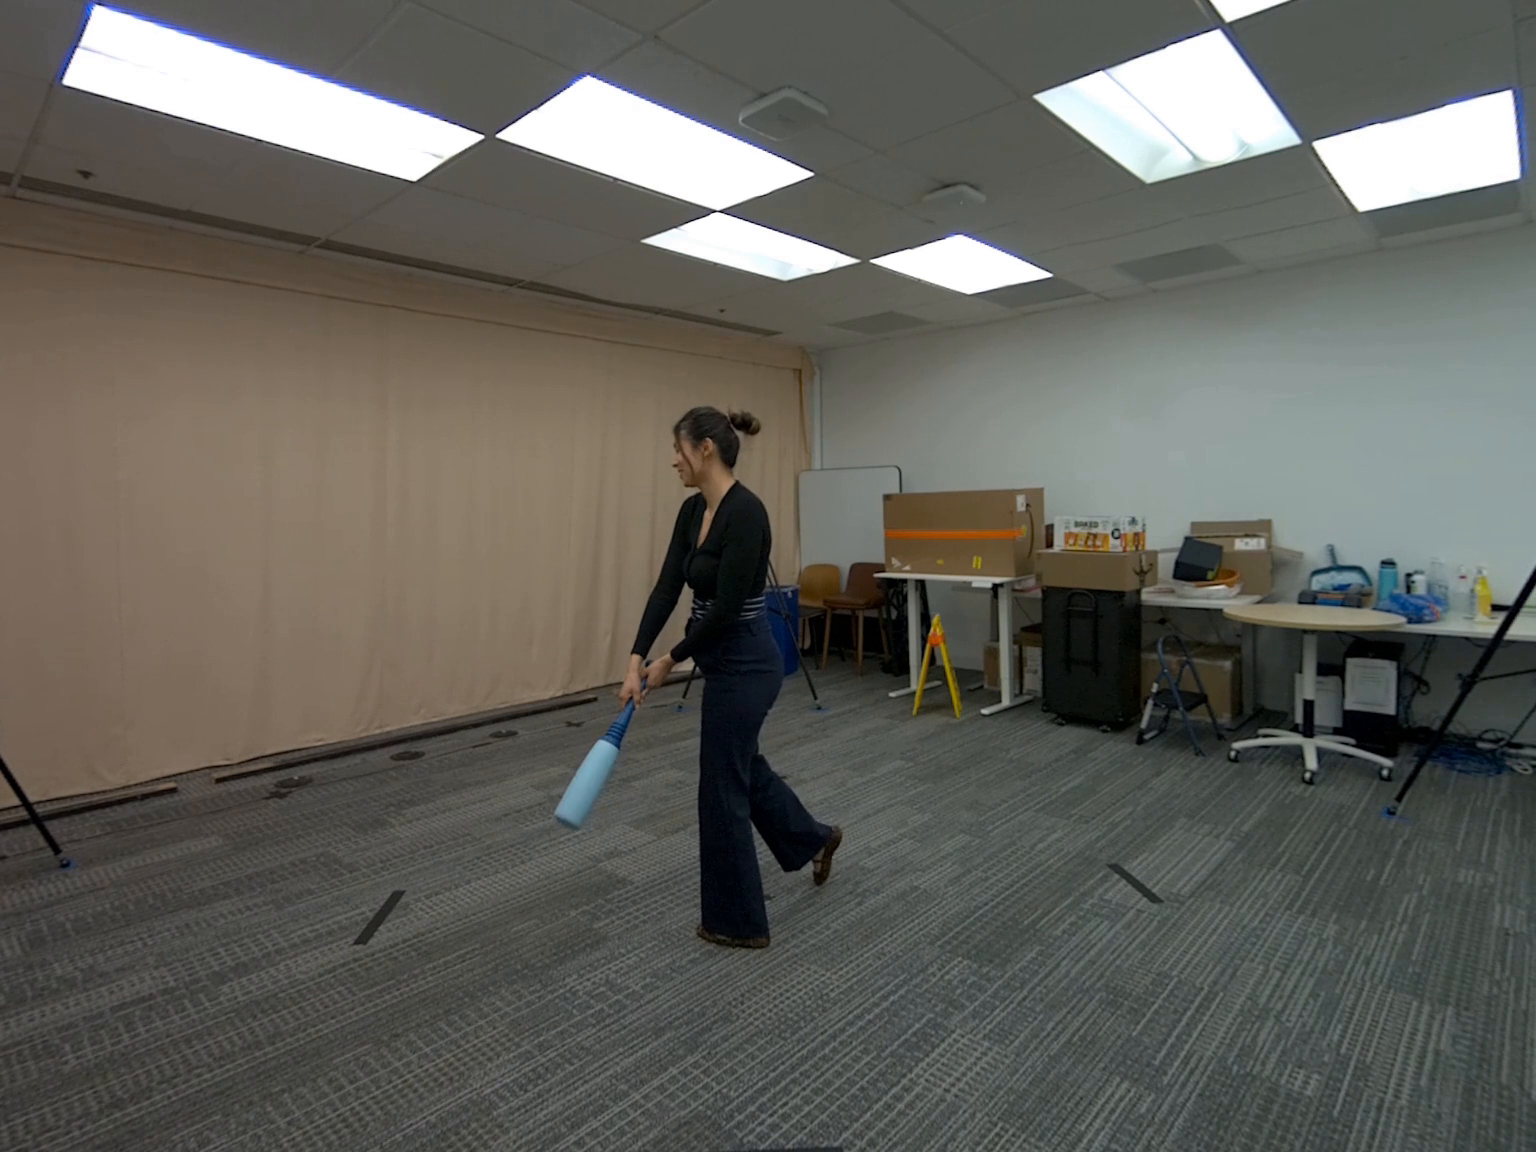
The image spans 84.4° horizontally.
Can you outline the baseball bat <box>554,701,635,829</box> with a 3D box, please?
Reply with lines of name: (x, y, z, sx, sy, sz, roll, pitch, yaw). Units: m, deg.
baseball bat: (-0.439, 0.480, 2.469, 0.090, 0.543, 0.087, 23, -29, 12)
